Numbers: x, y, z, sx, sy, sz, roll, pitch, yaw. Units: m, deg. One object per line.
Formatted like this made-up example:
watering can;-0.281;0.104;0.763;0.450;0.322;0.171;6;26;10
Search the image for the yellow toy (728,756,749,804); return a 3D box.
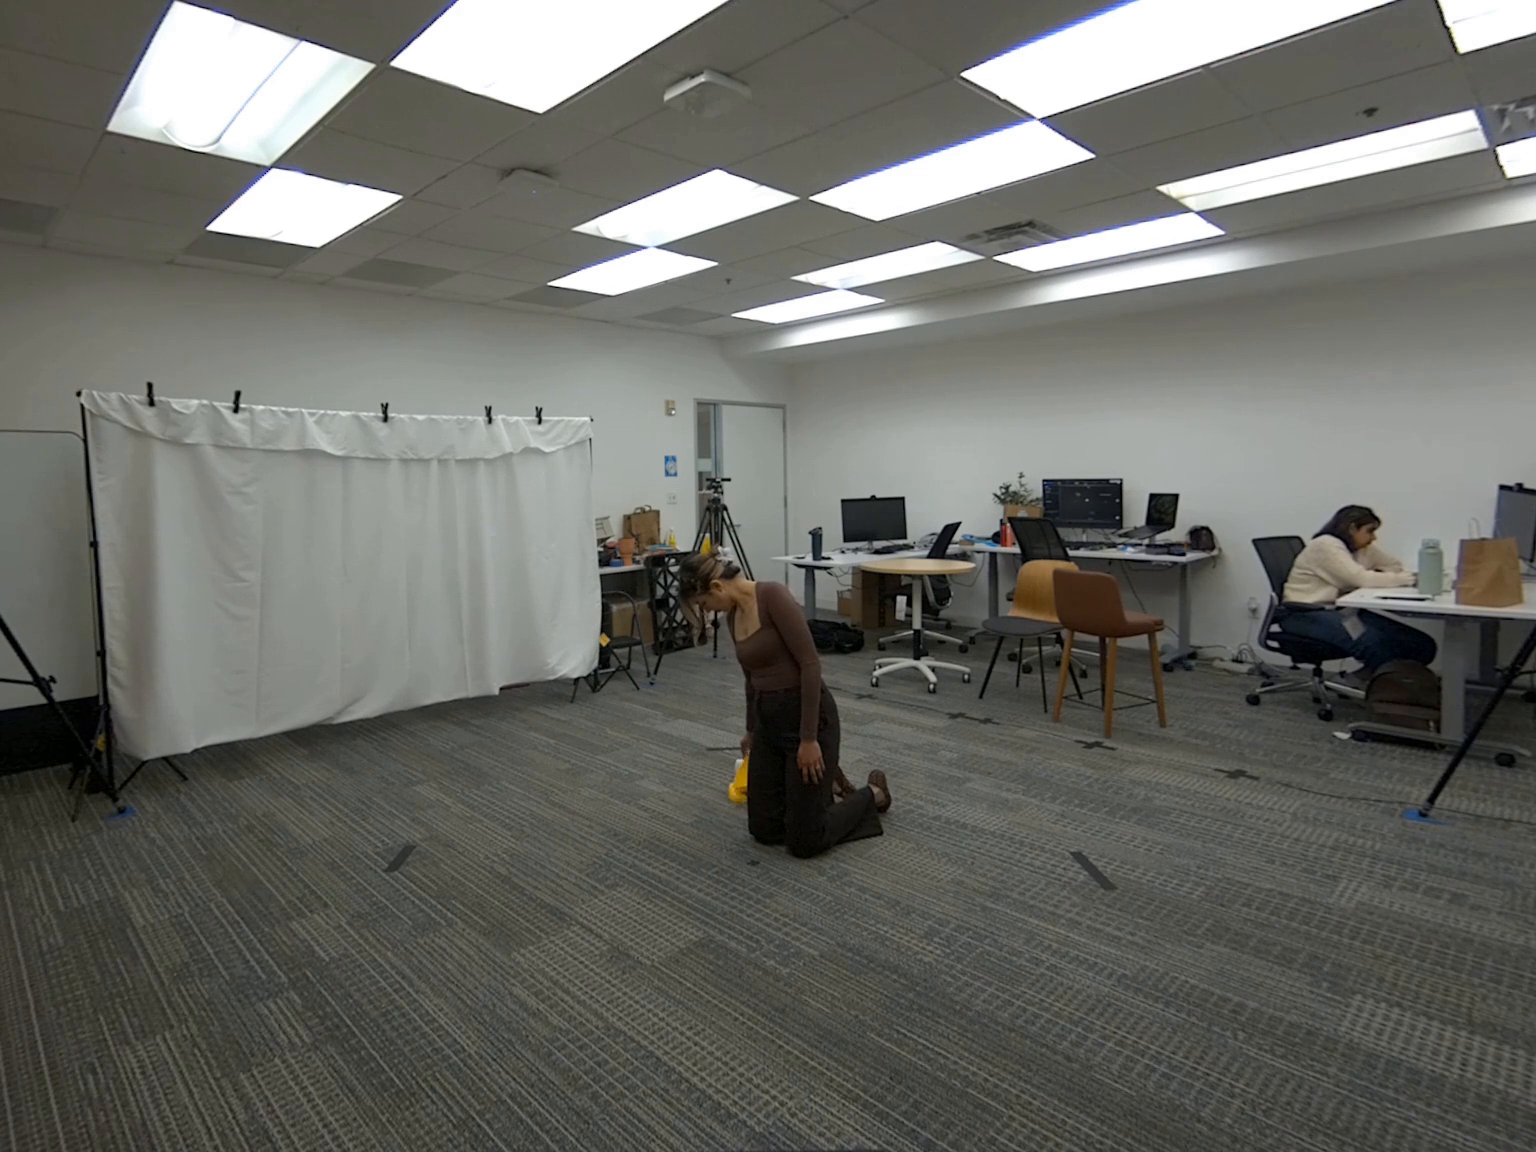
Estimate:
yellow toy;-0.079;0.856;3.748;0.203;0.230;0.196;-3;5;-11
